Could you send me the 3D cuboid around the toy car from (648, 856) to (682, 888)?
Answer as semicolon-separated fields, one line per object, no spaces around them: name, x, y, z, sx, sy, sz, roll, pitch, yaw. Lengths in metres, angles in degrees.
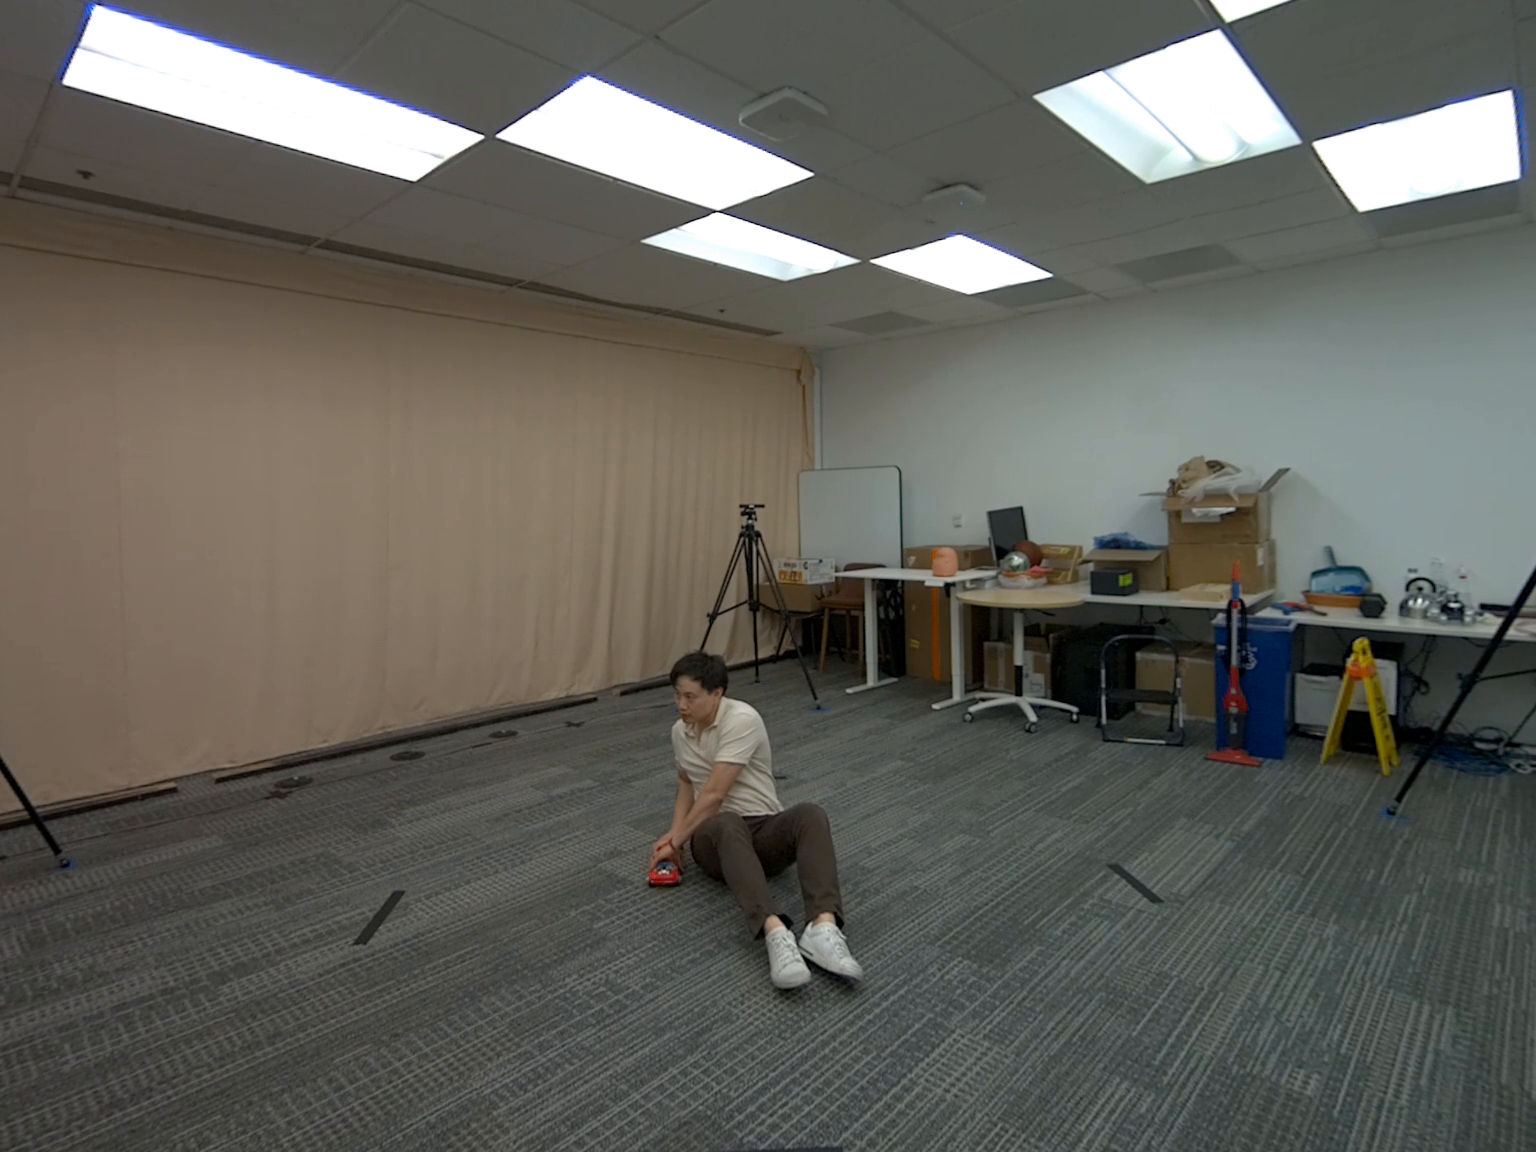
toy car;-0.386;1.099;3.199;0.130;0.082;0.257;-3;12;-3
